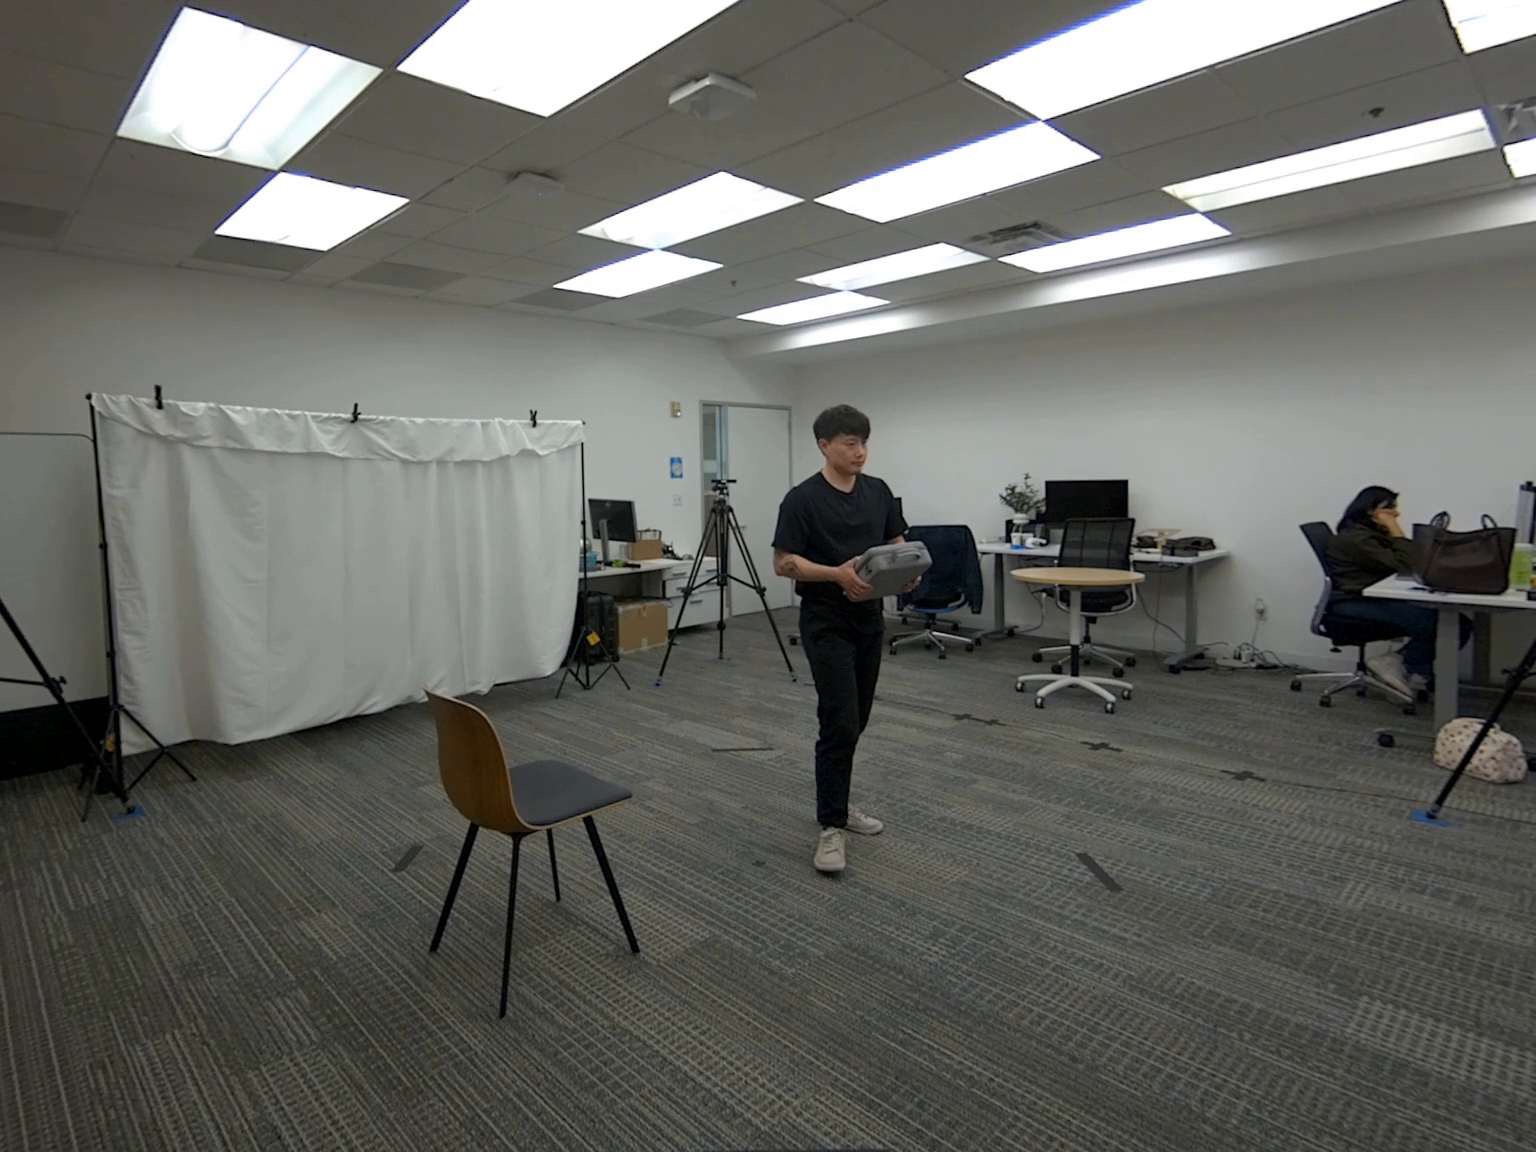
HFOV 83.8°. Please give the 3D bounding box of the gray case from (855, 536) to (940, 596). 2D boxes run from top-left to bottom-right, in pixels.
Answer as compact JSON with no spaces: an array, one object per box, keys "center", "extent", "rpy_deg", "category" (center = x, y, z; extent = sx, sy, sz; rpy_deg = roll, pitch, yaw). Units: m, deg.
[{"center":[0.425,-0.028,3.097],"extent":[0.251,0.106,0.261],"rpy_deg":[-9,-18,-33],"category":"gray case"}]
